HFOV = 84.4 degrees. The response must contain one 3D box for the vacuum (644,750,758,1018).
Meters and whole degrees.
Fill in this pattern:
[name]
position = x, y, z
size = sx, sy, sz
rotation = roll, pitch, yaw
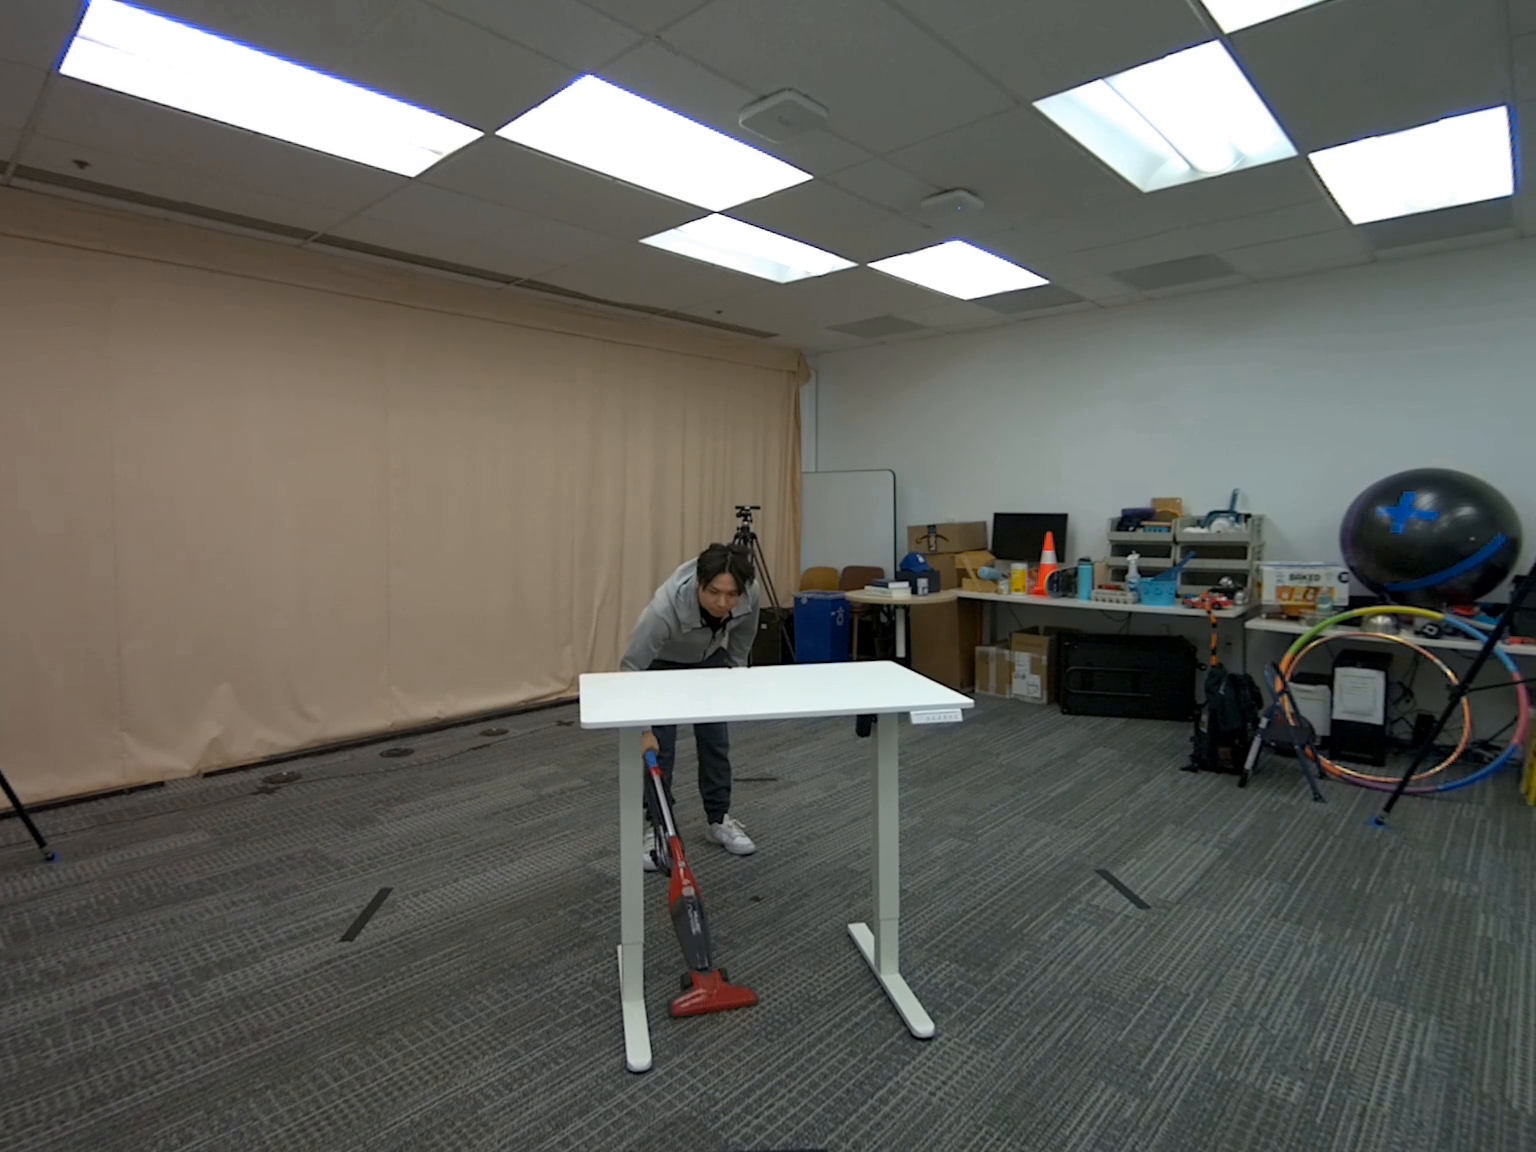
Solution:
[vacuum]
position = -0.310, 0.903, 2.826
size = 0.248, 0.142, 1.080
rotation = 1, 29, -19
